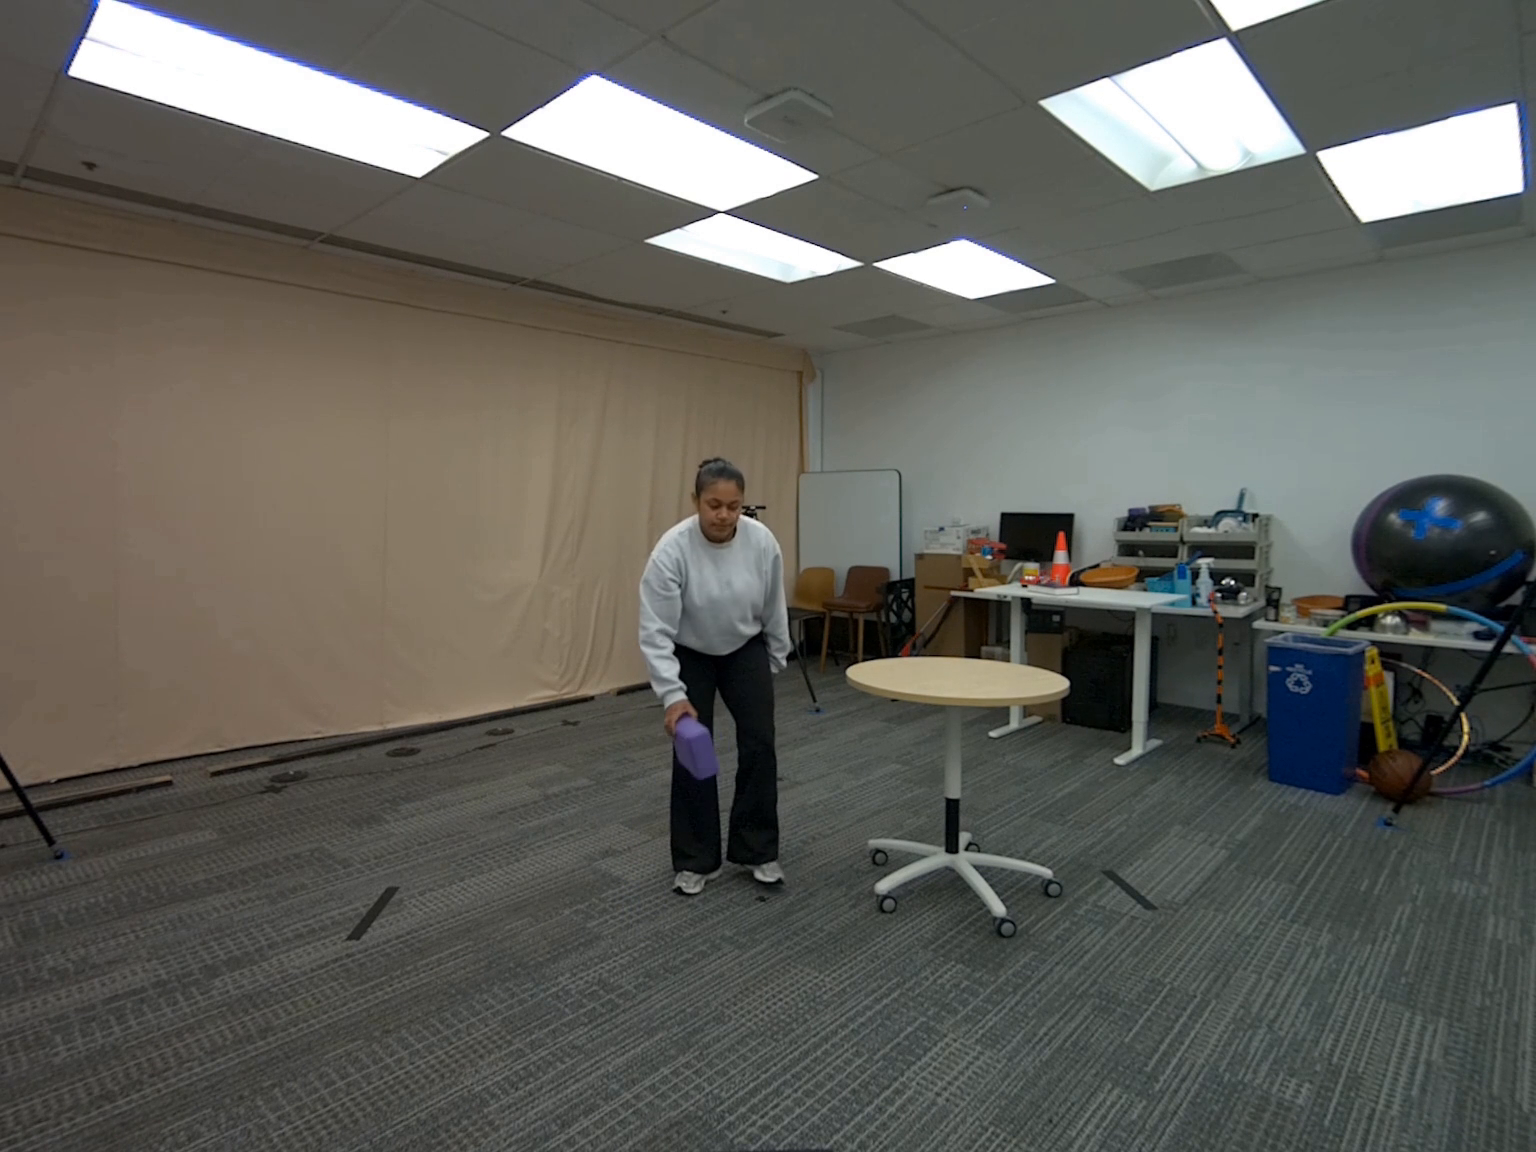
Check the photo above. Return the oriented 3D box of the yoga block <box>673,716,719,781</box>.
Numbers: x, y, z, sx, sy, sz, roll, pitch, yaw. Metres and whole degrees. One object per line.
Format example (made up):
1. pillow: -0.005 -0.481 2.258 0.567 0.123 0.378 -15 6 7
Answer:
1. yoga block: -0.228 0.541 2.706 0.075 0.148 0.235 -17 10 -20
